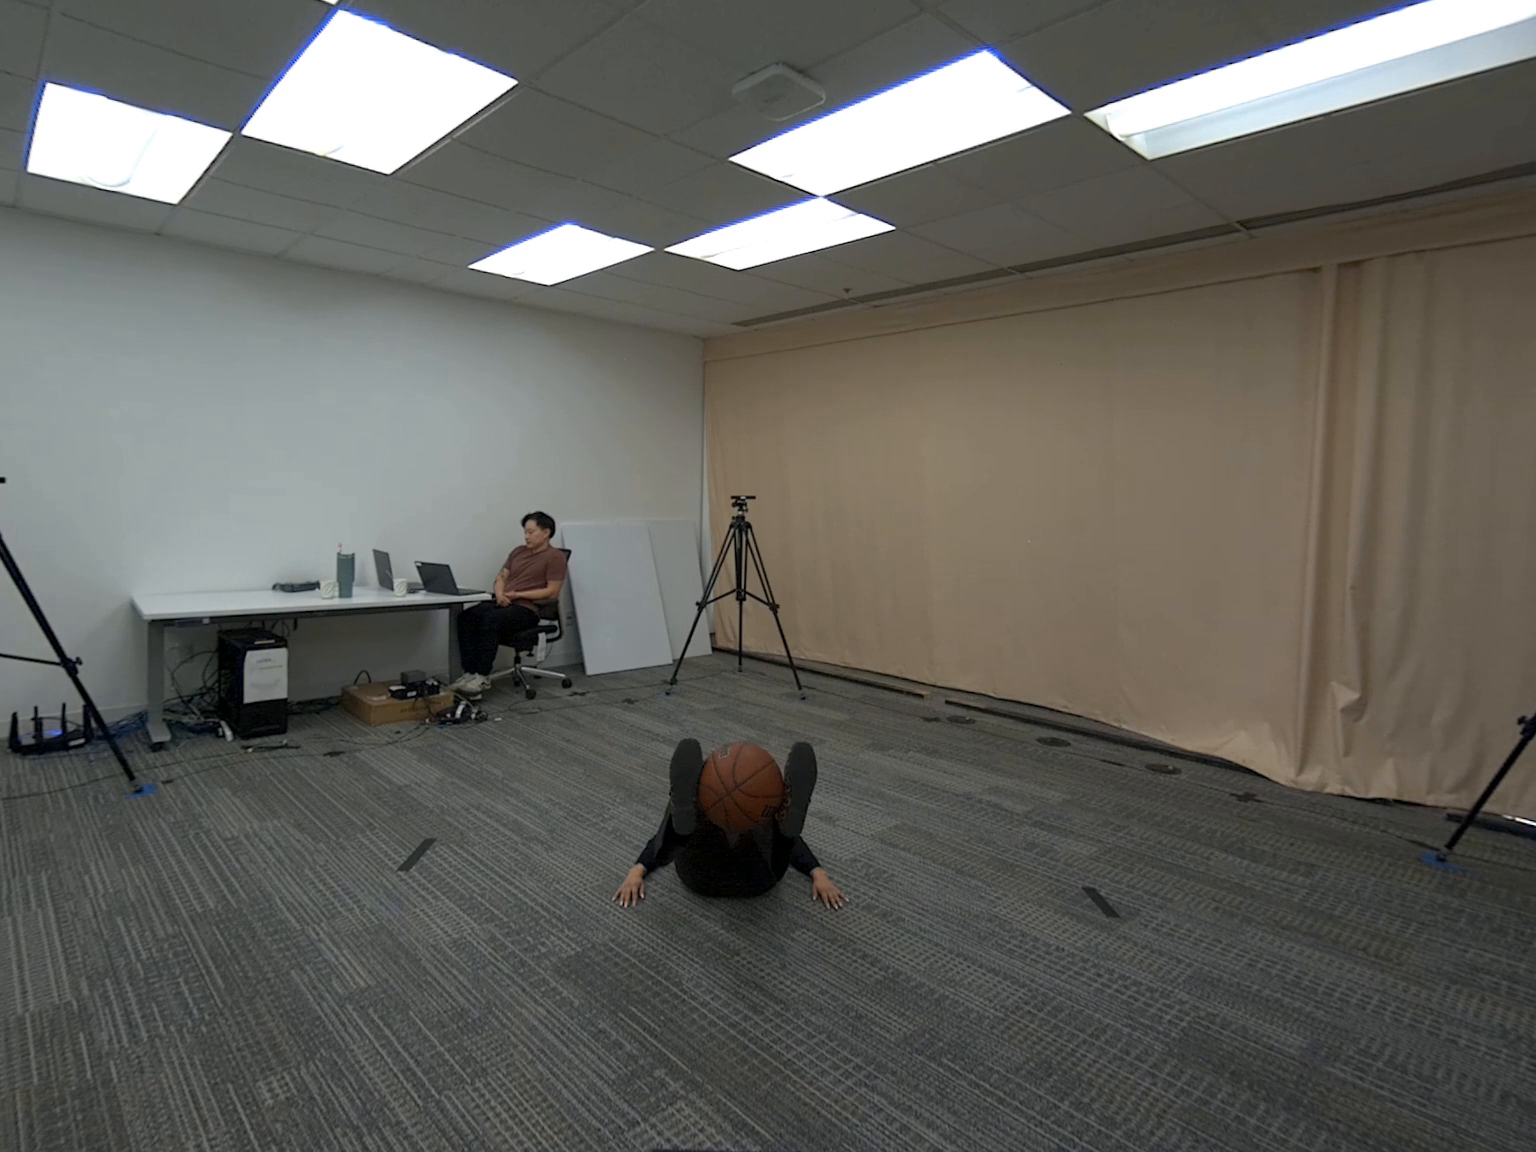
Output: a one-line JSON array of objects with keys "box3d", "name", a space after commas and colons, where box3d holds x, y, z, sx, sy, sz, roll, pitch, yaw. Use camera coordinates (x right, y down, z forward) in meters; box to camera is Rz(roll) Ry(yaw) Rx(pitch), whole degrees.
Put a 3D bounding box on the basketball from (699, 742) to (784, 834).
[{"box3d": [-0.085, 0.570, 2.281, 0.235, 0.235, 0.237, 4, 5, -2], "name": "basketball"}]
